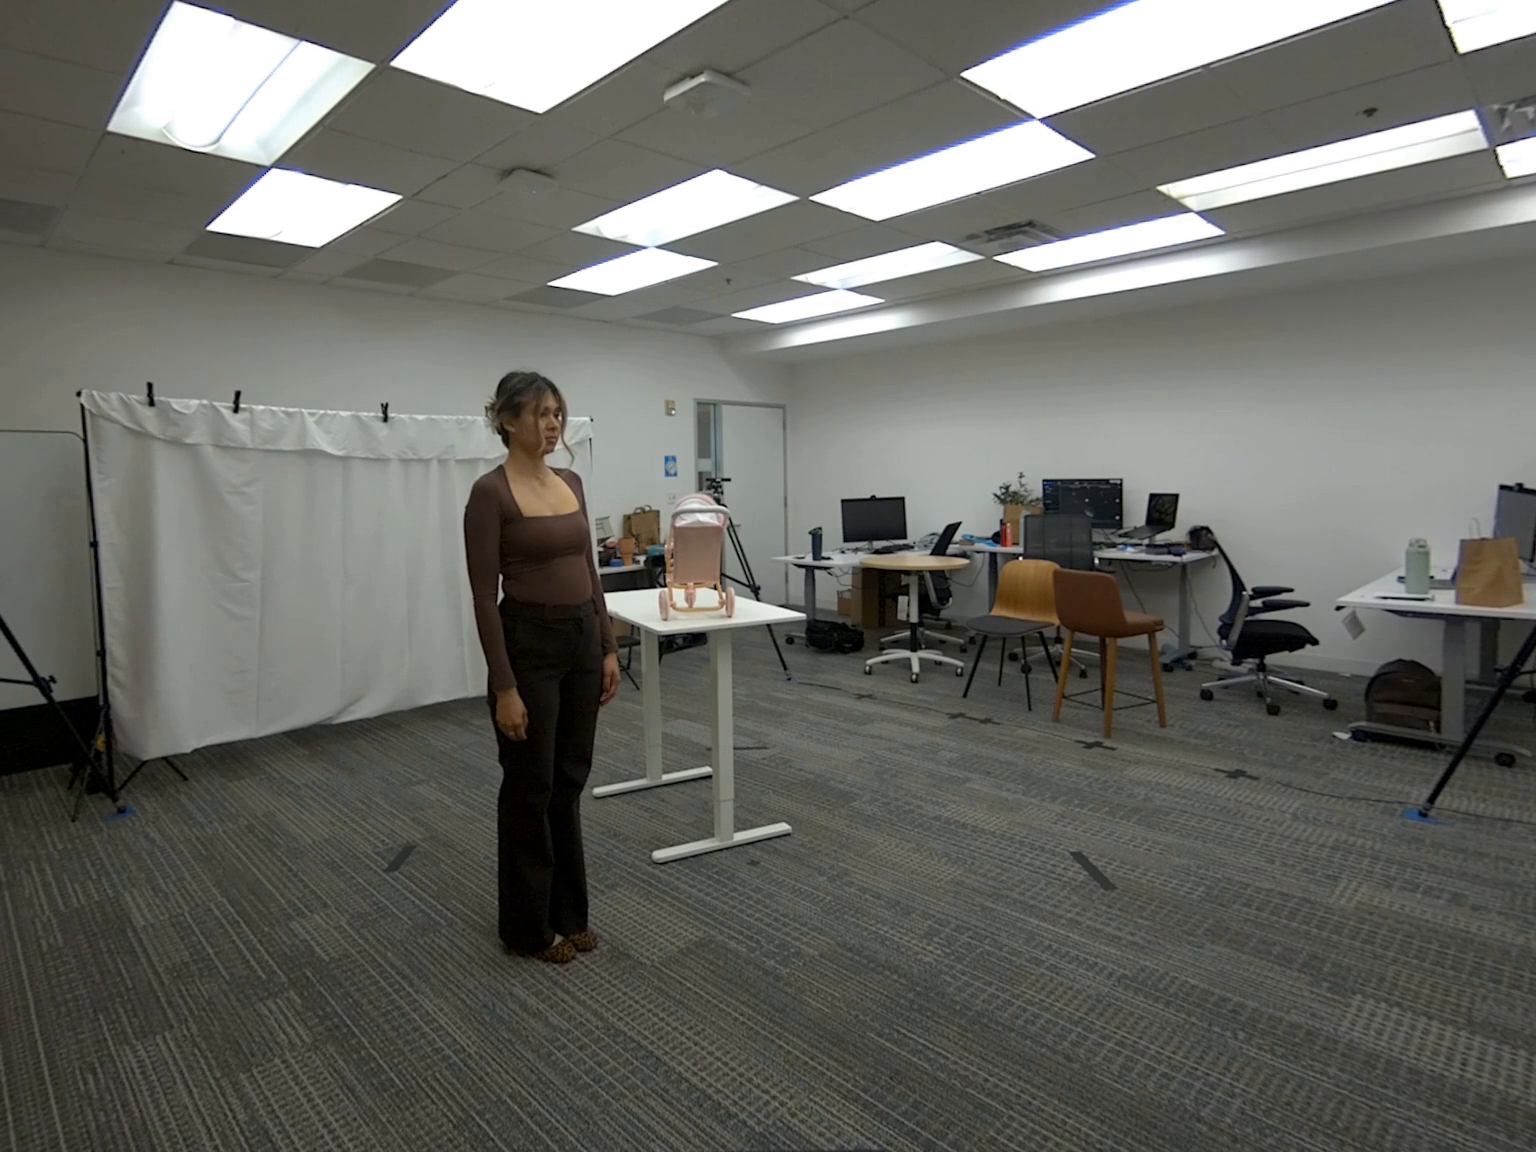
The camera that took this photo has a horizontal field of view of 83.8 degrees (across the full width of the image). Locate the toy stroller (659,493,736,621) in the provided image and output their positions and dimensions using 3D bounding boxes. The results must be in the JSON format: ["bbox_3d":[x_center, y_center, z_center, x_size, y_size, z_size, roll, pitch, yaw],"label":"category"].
[{"bbox_3d":[-0.273,-0.070,3.232,0.280,0.525,0.350,-1,22,-7],"label":"toy stroller"}]
